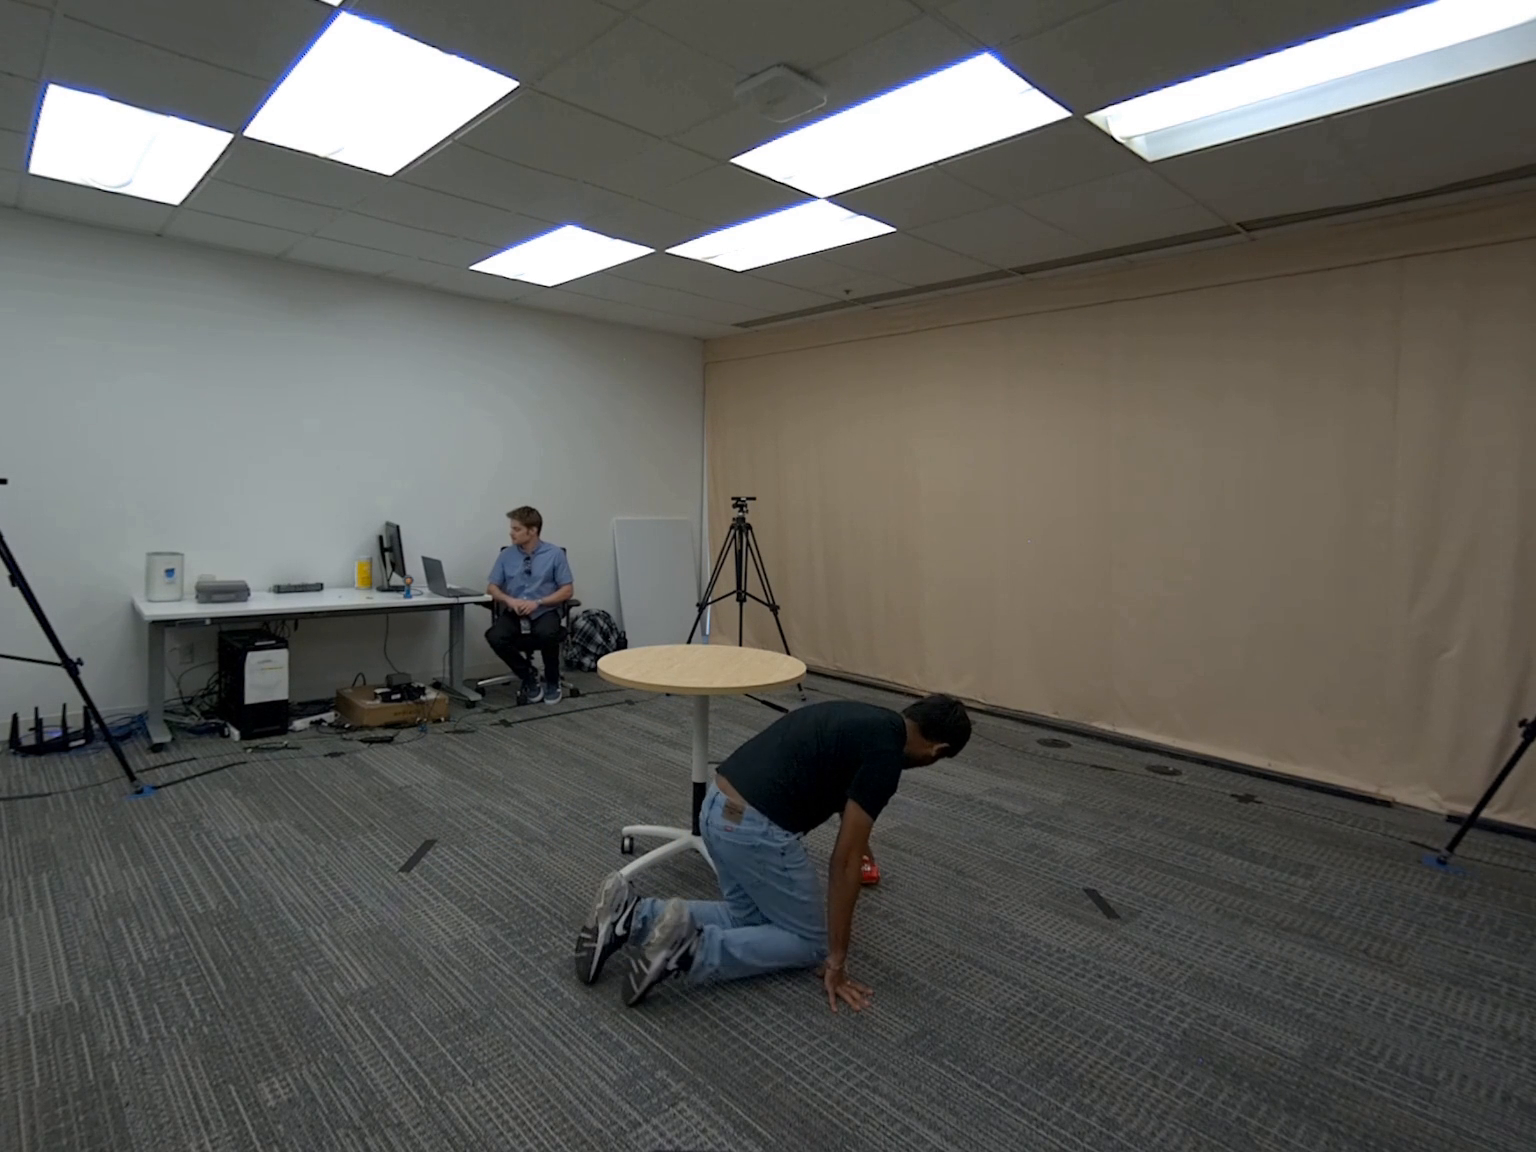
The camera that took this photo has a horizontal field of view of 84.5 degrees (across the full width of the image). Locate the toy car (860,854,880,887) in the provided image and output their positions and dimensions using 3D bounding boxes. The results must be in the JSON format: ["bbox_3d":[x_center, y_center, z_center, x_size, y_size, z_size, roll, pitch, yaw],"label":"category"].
[{"bbox_3d":[0.344,1.082,3.130,0.130,0.083,0.254,3,-7,-5],"label":"toy car"}]
